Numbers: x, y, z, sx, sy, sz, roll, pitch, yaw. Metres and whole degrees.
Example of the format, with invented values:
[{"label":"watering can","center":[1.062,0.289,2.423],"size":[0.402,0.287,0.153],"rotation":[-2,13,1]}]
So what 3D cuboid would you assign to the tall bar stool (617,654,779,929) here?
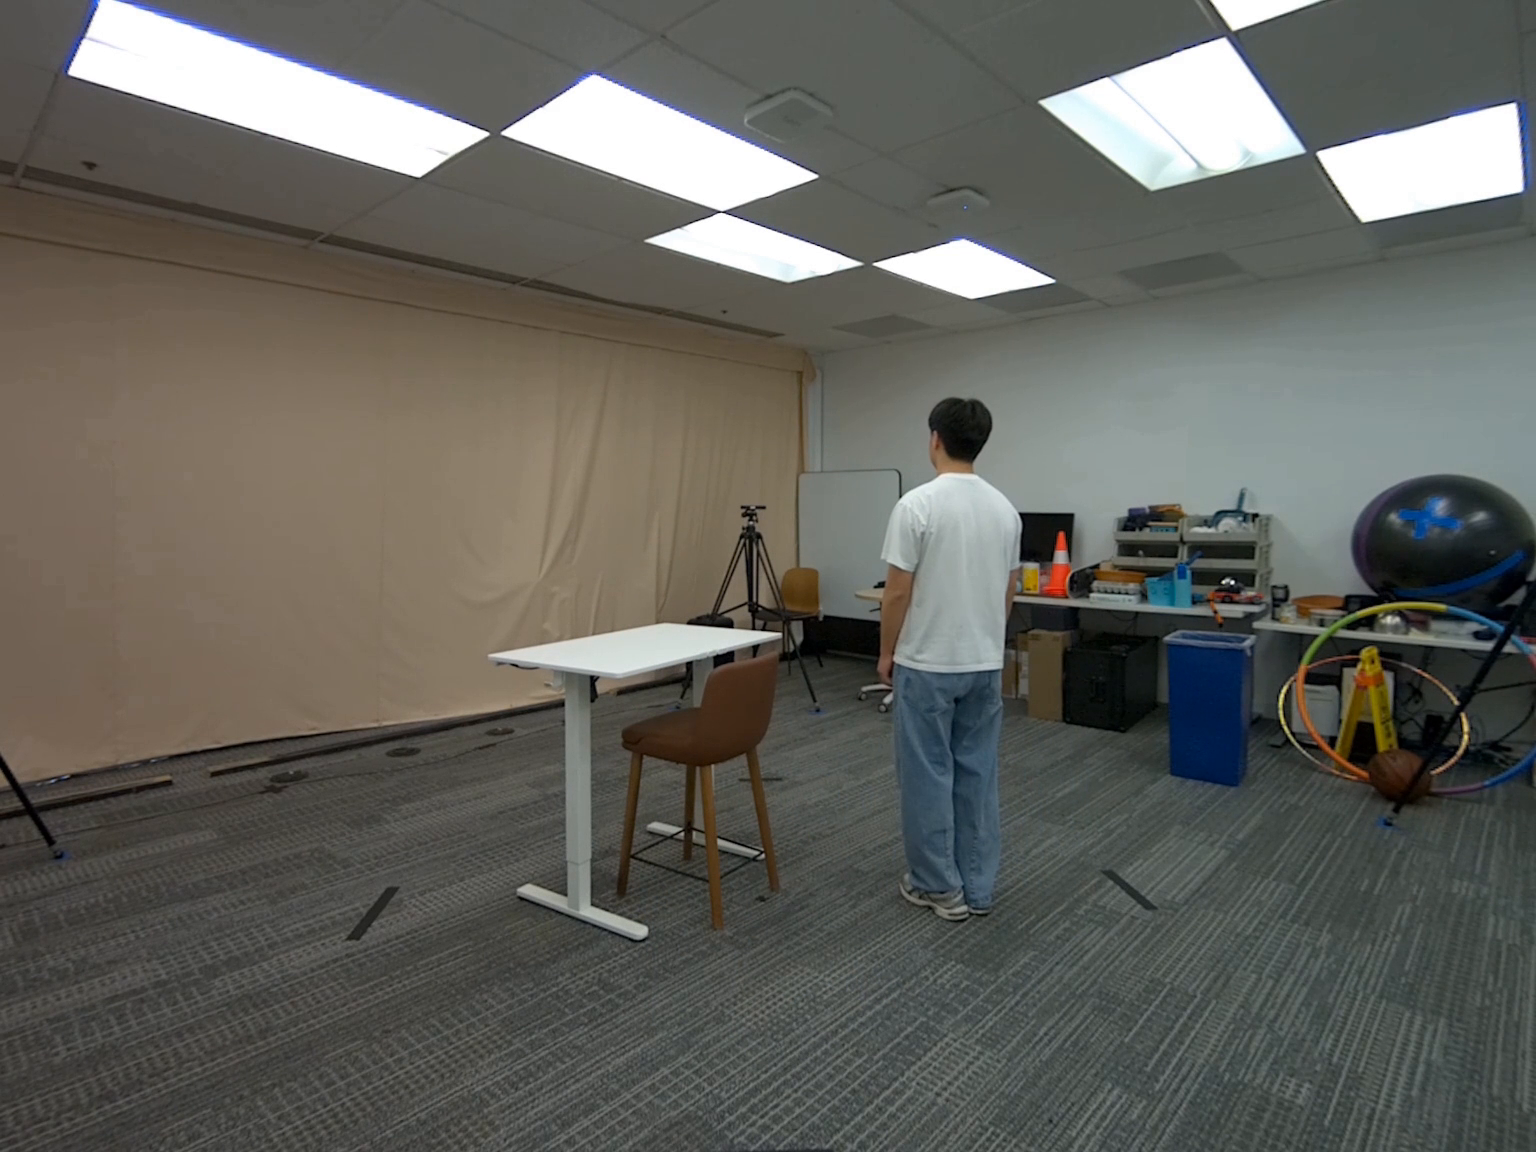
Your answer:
[{"label":"tall bar stool","center":[-0.233,0.715,3.020],"size":[0.483,0.887,0.443],"rotation":[7,7,36]}]
